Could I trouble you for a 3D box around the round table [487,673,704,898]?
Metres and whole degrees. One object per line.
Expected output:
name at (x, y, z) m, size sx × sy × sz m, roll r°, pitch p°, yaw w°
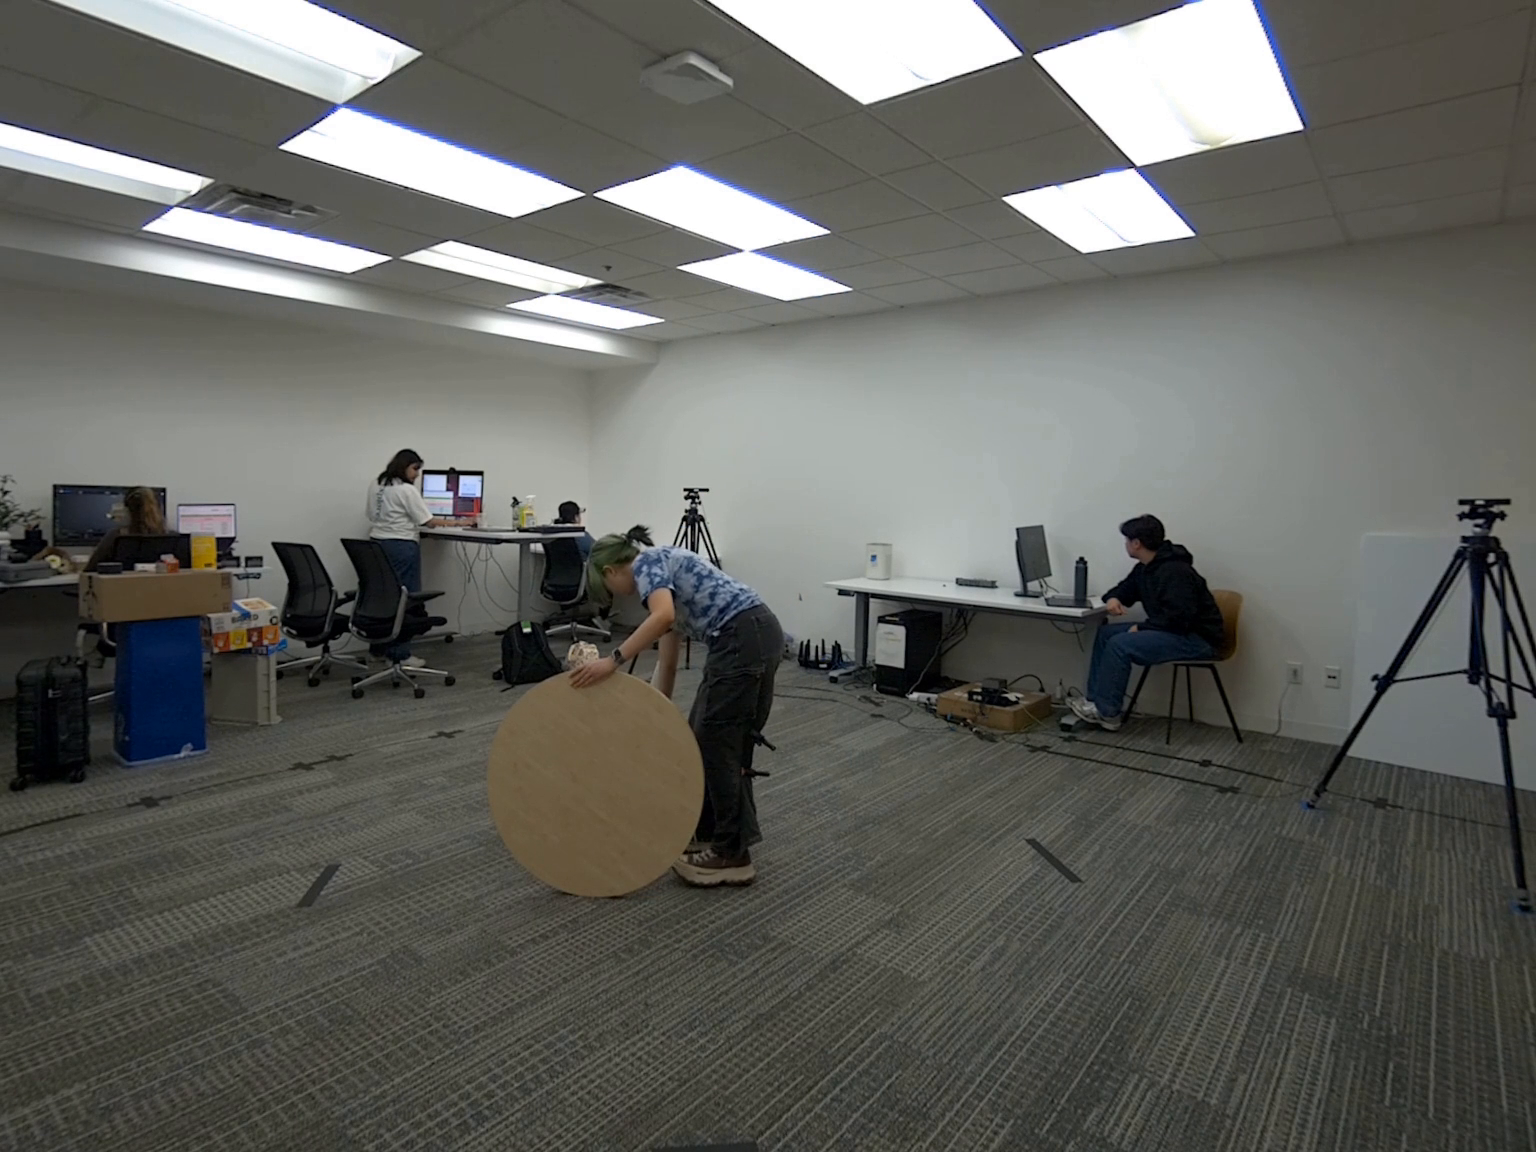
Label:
round table at (-0.576, 0.702, 3.285) m, size 0.770 × 0.765 × 0.787 m, roll 1°, pitch -1°, yaw 6°
